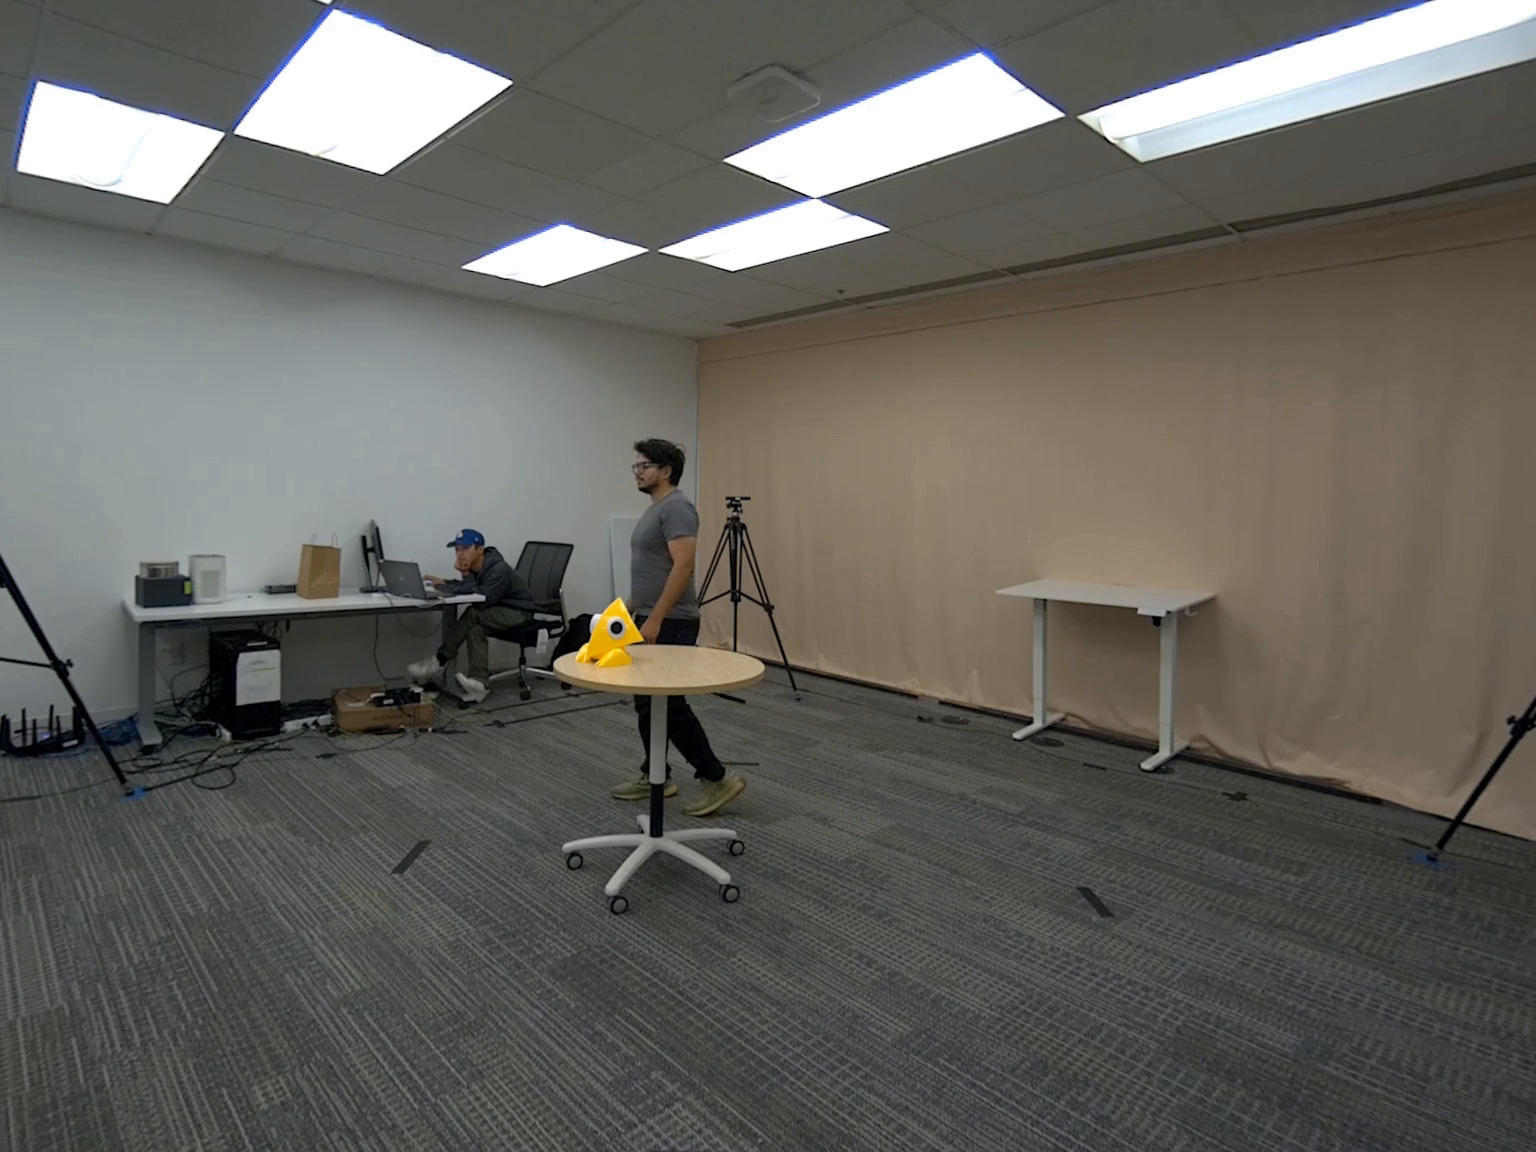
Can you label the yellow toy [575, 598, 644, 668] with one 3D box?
[{"bbox_3d":[-0.605,0.199,3.086,0.210,0.230,0.189,5,6,37],"label":"yellow toy"}]
